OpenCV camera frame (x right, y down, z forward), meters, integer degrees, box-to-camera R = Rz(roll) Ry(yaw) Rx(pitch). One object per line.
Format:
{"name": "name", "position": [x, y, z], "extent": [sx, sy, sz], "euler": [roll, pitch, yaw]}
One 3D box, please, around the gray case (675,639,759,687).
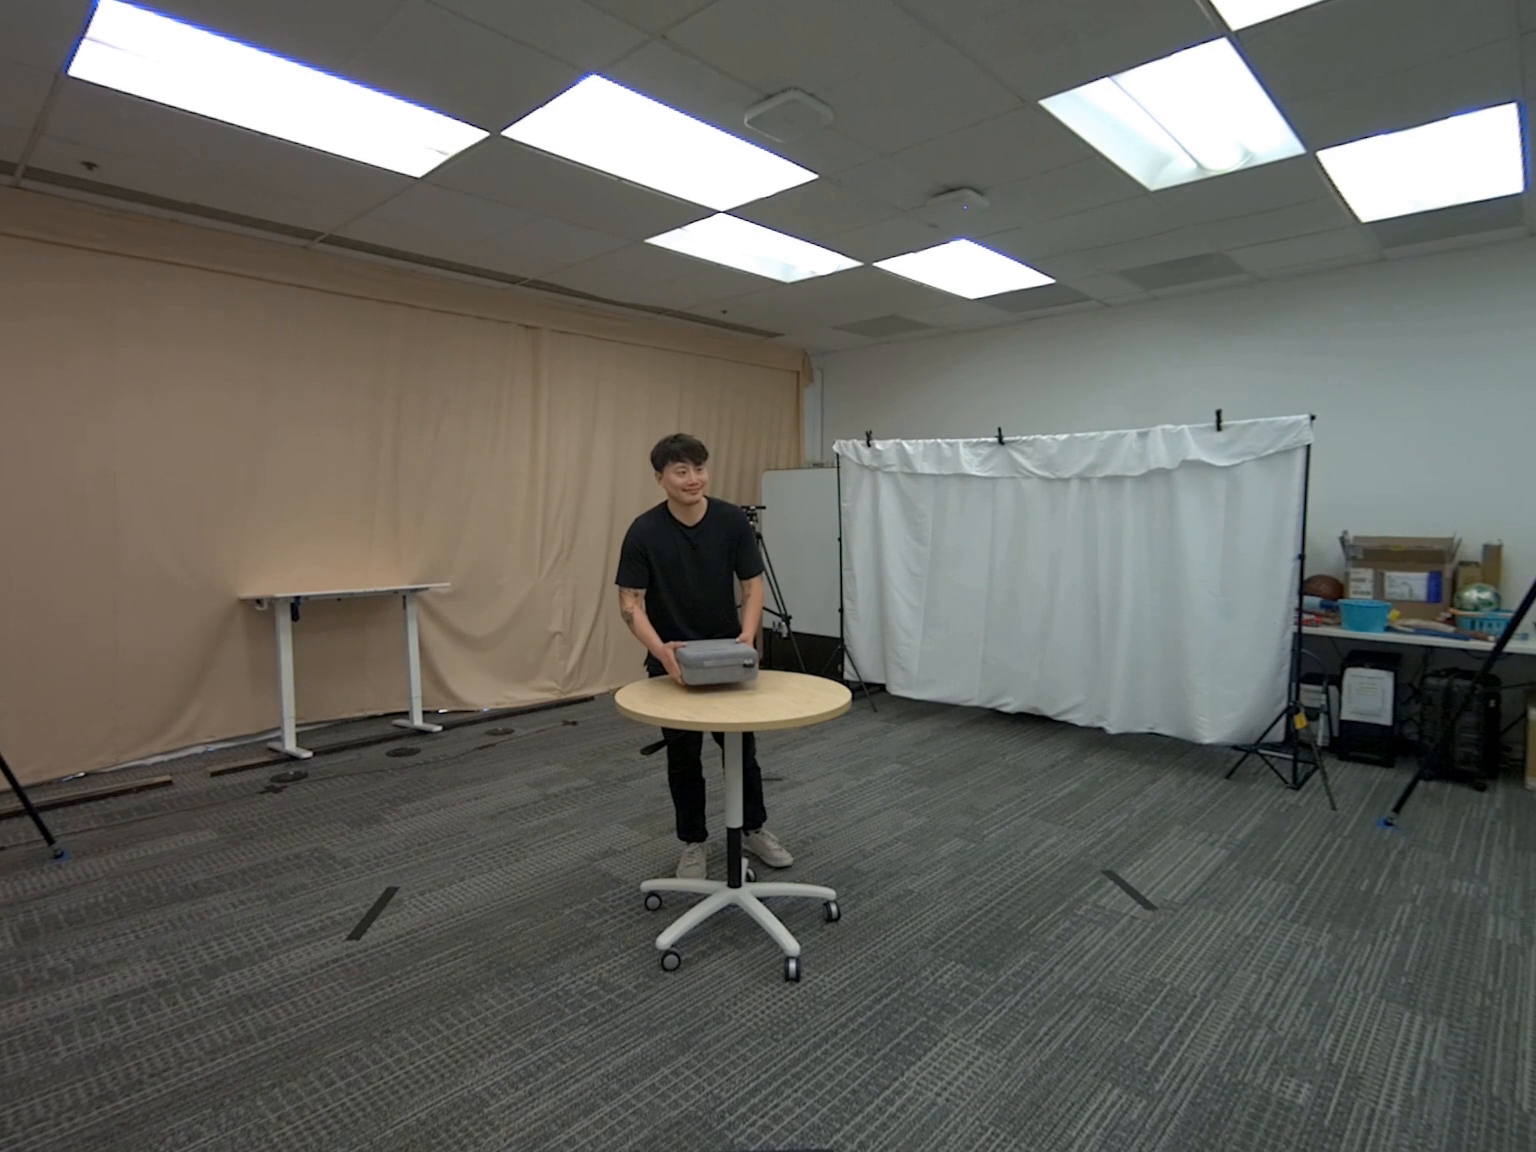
{"name": "gray case", "position": [-0.173, 0.289, 2.849], "extent": [0.253, 0.104, 0.266], "euler": [-4, 6, -17]}
